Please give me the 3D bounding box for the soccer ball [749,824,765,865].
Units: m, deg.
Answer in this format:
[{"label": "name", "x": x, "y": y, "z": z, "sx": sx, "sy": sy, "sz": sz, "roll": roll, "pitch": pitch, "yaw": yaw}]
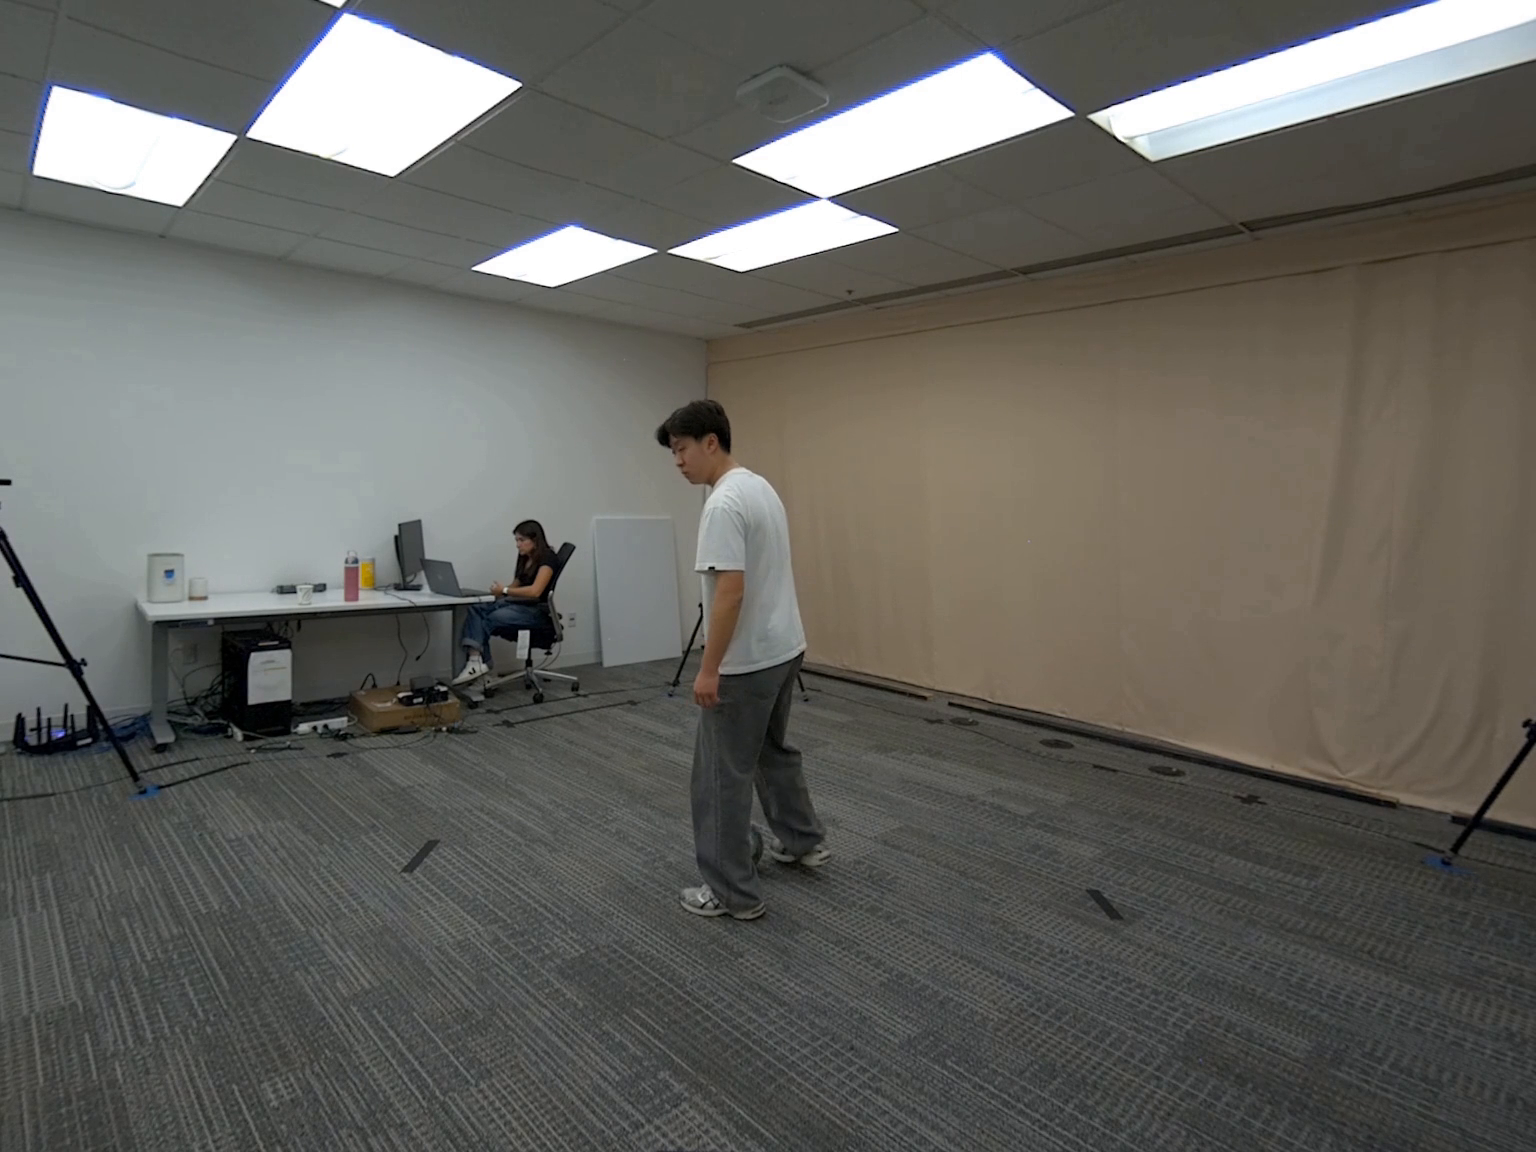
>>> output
[{"label": "soccer ball", "x": -0.110, "y": 1.012, "z": 3.158, "sx": 0.187, "sy": 0.187, "sz": 0.188, "roll": 1, "pitch": 4, "yaw": -1}]
